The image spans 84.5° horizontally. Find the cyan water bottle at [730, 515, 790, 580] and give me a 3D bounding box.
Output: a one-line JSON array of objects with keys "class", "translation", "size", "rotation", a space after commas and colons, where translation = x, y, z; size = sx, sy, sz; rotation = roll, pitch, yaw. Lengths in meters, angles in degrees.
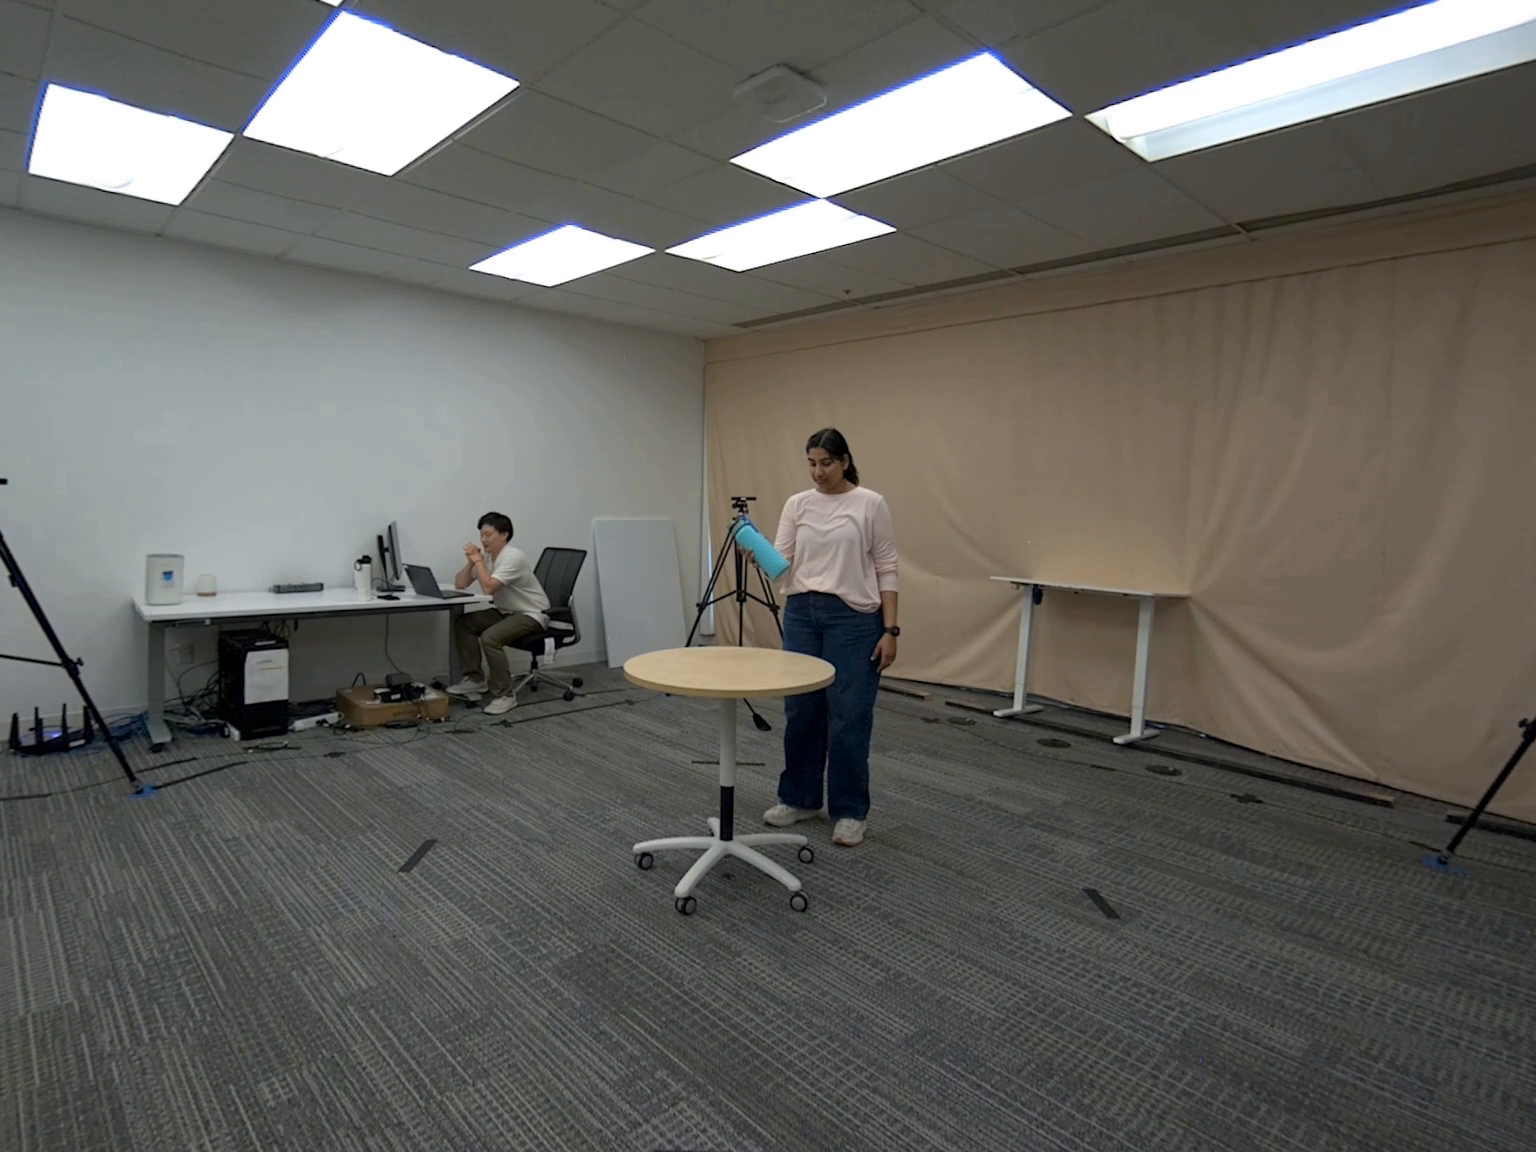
[{"class": "cyan water bottle", "translation": [-0.044, -0.113, 3.250], "size": [0.287, 0.092, 0.091], "rotation": [46, 17, 13]}]
